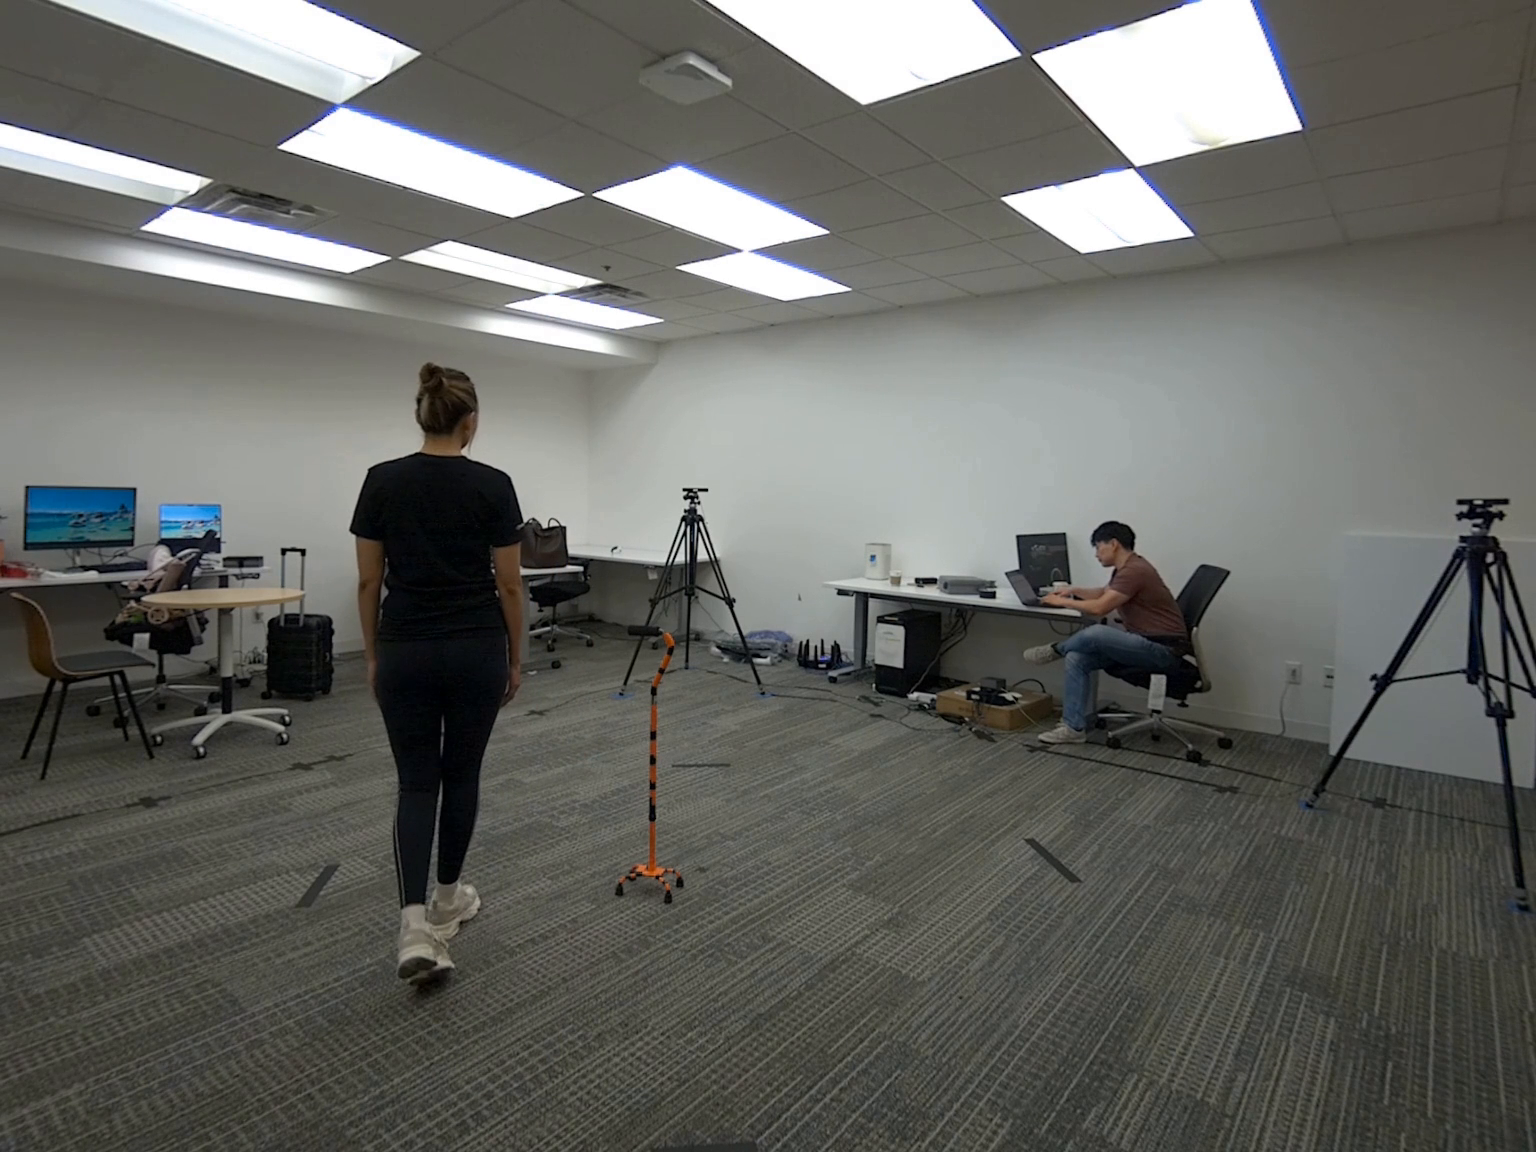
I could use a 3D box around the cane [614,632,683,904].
[{"bbox_3d":[-0.405,0.632,2.919,0.209,0.906,0.150,2,2,10],"label":"cane"}]
